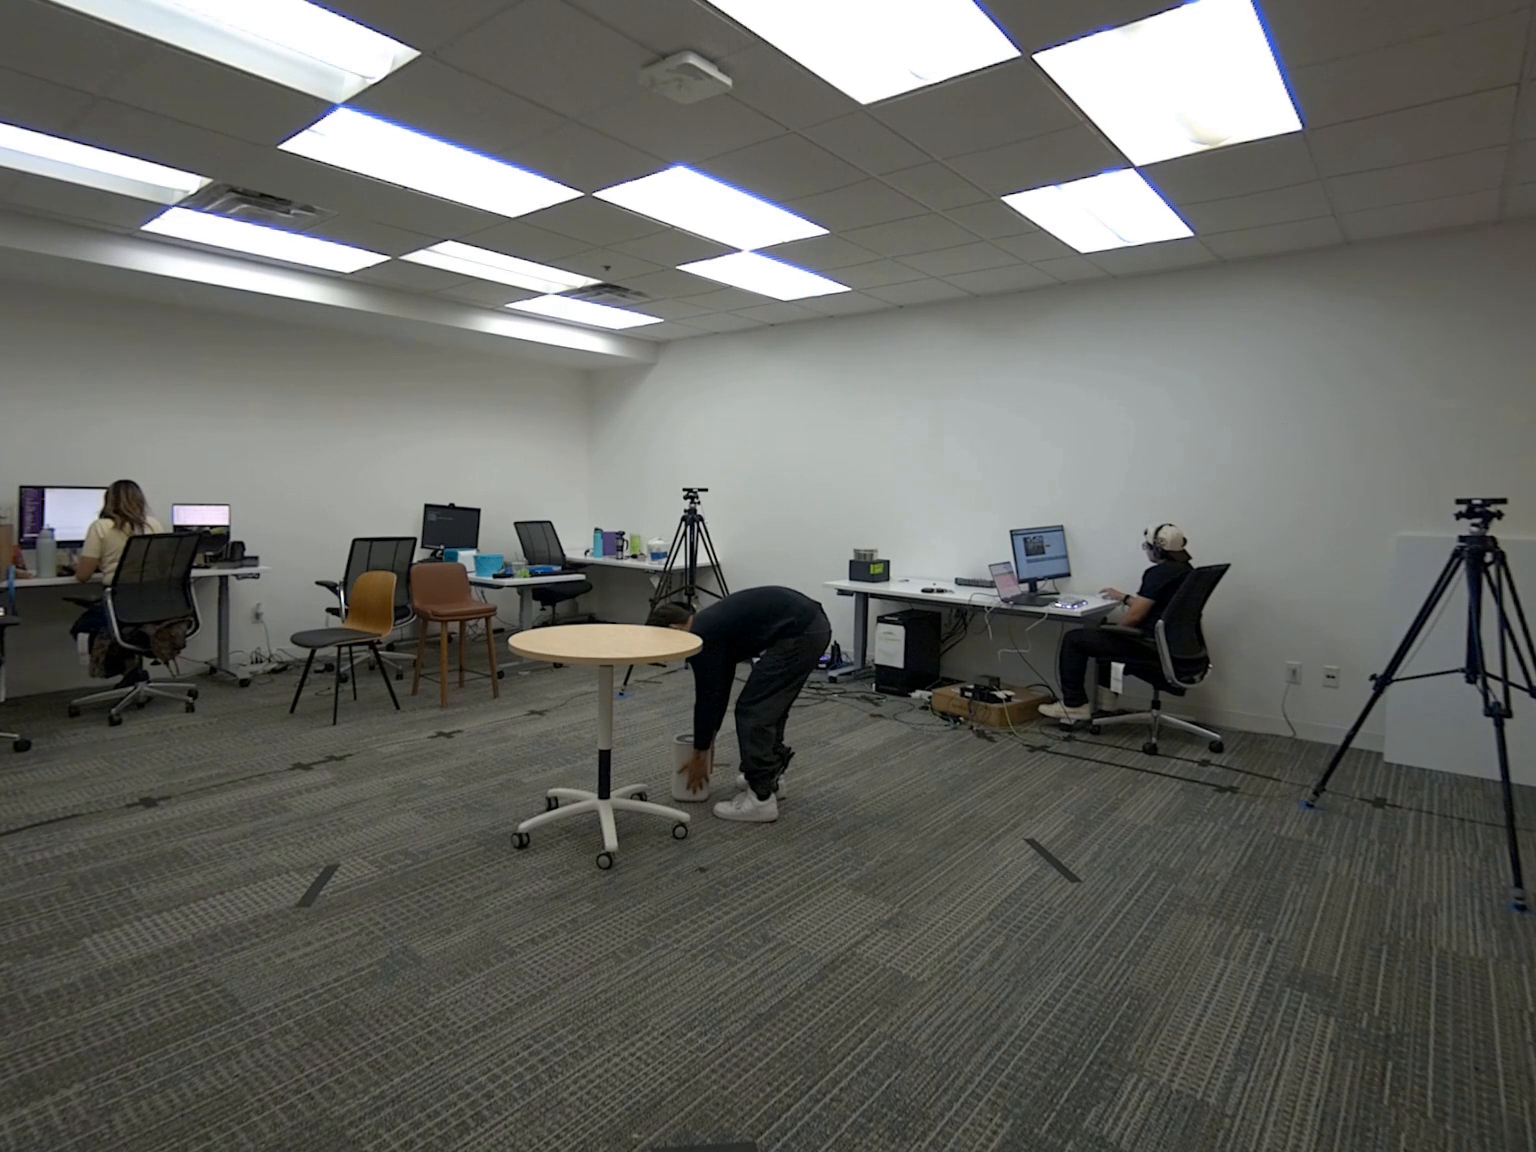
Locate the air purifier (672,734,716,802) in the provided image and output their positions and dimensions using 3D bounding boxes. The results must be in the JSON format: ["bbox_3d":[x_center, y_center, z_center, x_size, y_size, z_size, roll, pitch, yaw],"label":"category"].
[{"bbox_3d":[-0.367,0.865,3.844,0.171,0.264,0.172,-1,3,-2],"label":"air purifier"}]
